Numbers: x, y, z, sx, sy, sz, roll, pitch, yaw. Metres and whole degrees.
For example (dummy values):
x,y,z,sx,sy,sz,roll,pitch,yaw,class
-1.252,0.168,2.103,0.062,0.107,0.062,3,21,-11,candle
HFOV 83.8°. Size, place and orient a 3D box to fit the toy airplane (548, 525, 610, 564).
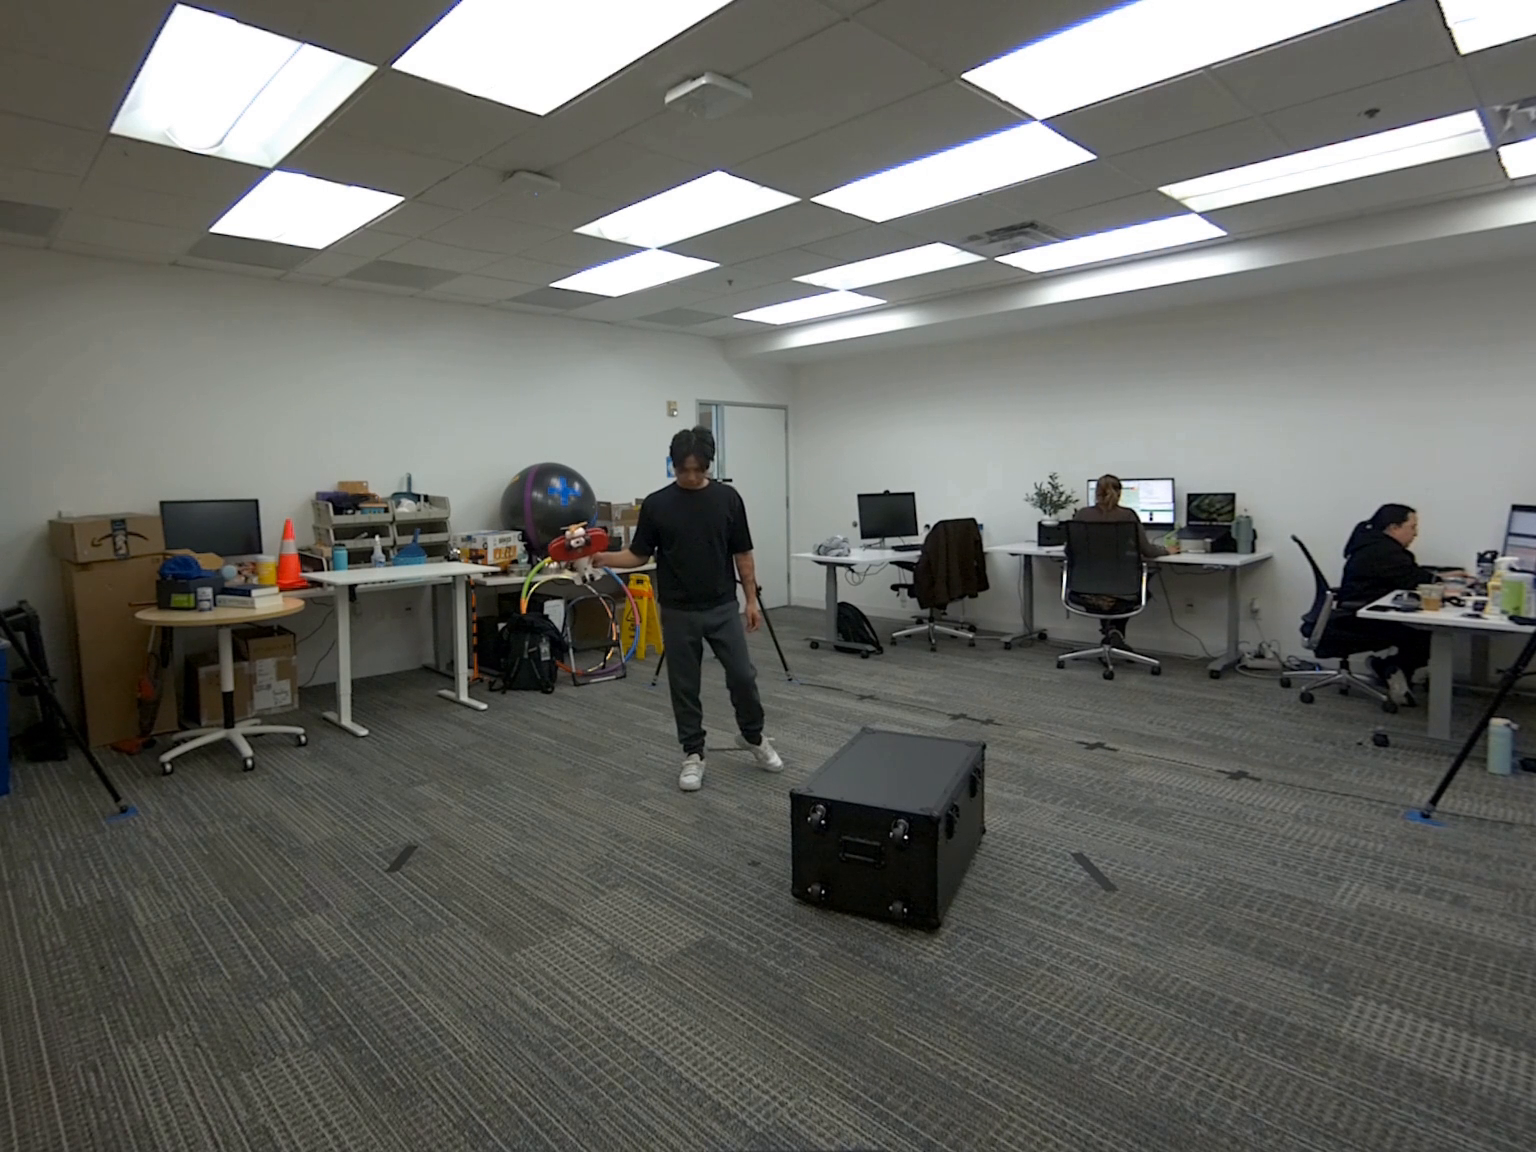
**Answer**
x,y,z,sx,sy,sz,roll,pitch,yaw,class
-0.829,-0.093,3.699,0.245,0.256,0.162,11,24,-22,toy airplane
